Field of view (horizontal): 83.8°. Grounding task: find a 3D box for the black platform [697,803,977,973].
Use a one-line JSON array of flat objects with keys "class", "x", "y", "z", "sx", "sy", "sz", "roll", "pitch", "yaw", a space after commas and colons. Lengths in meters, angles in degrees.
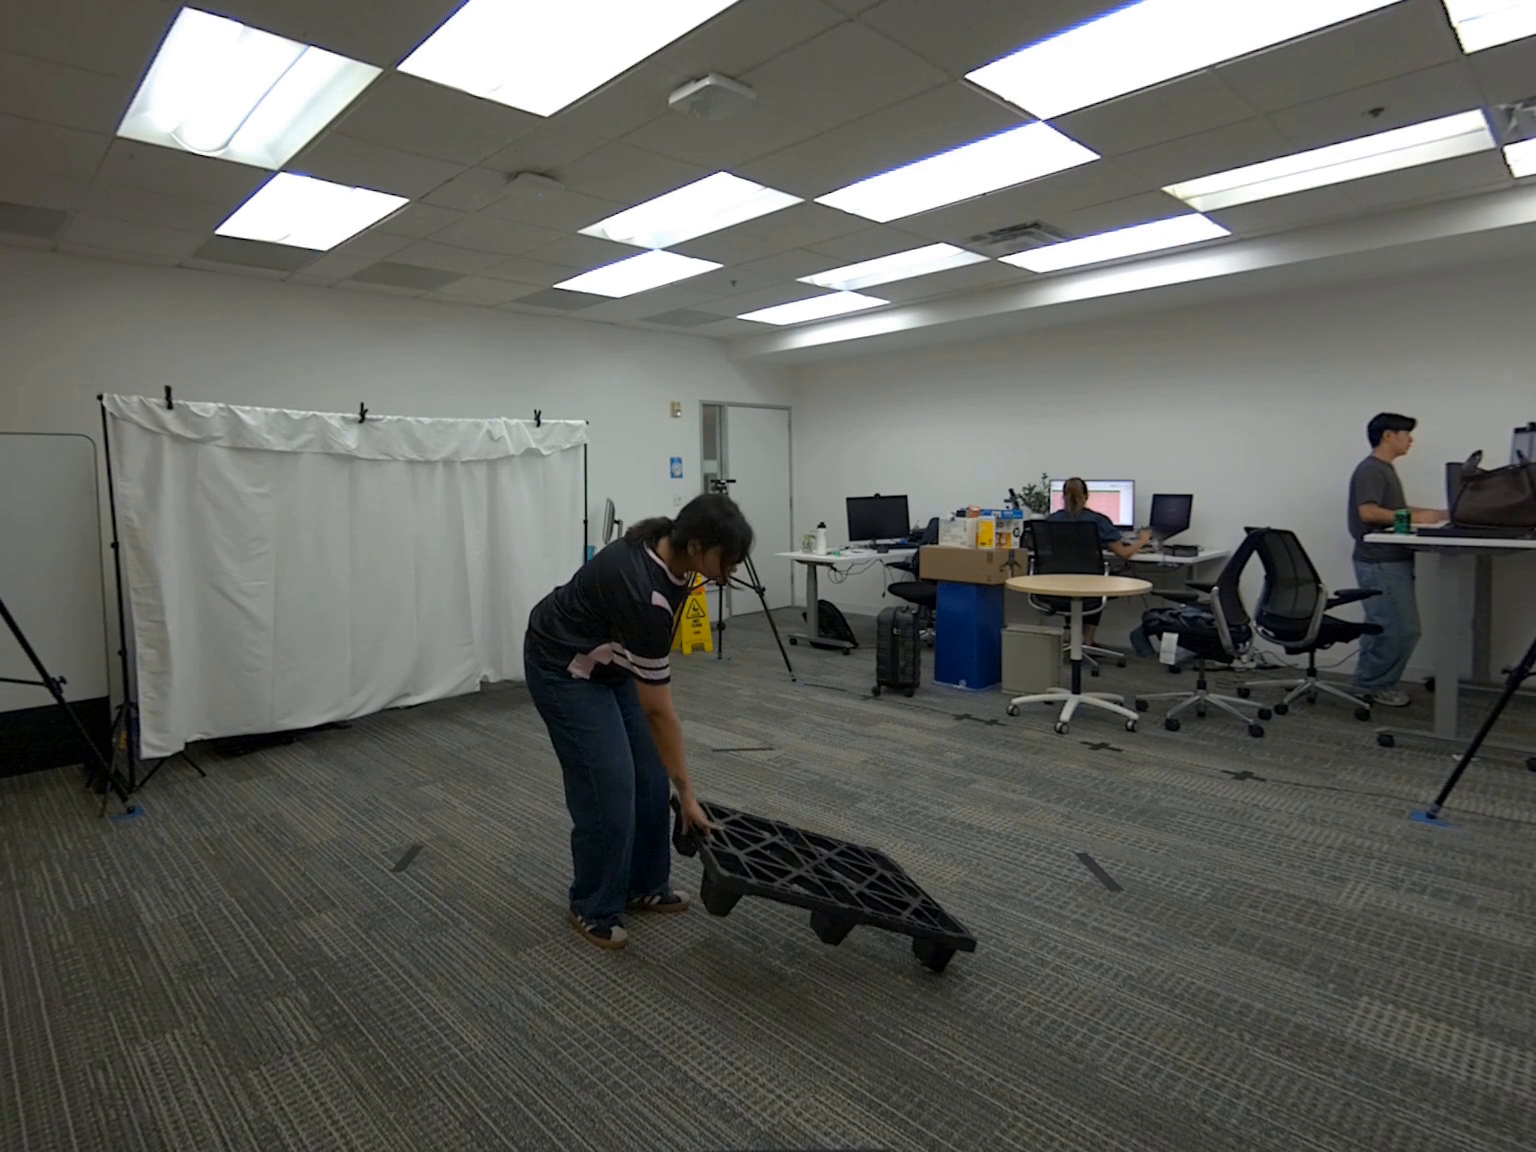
[{"class": "black platform", "x": 0.126, "y": 0.912, "z": 2.535, "sx": 0.790, "sy": 0.143, "sz": 0.617, "roll": 20, "pitch": 0, "yaw": -17}]
